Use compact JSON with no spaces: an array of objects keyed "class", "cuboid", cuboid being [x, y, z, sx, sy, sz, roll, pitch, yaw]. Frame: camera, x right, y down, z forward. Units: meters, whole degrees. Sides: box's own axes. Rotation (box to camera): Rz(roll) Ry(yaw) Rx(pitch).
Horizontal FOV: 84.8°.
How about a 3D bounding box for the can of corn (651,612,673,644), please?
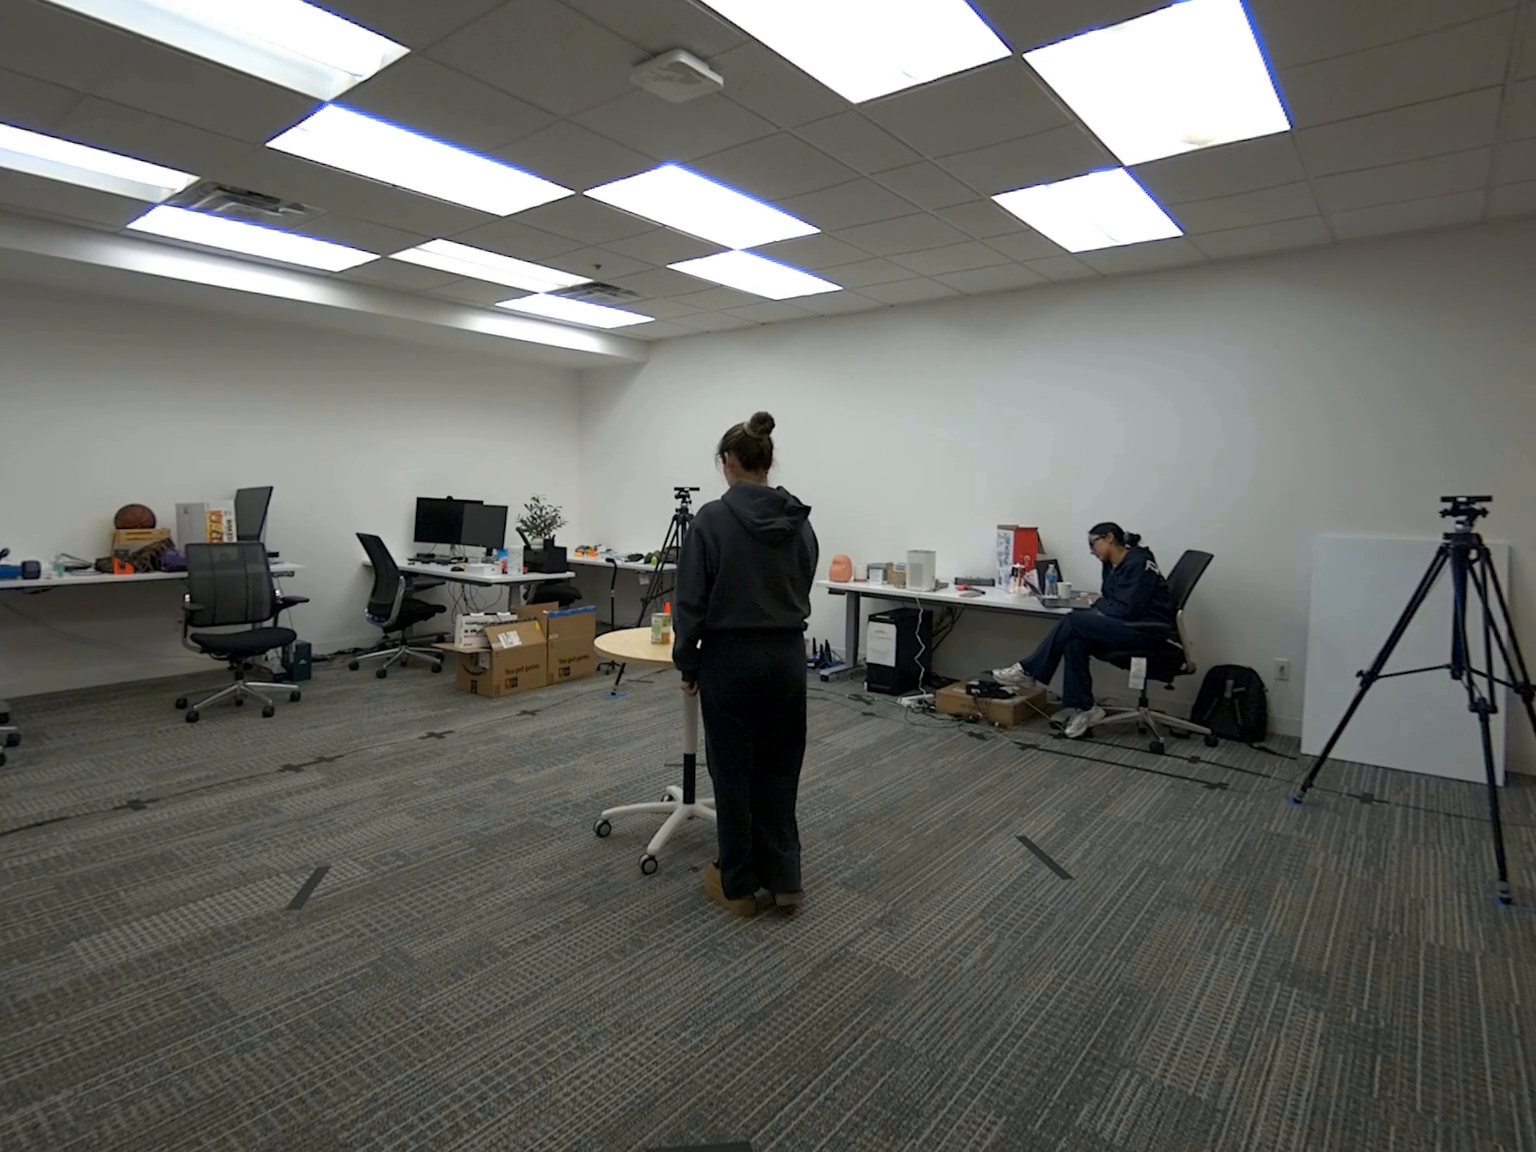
[{"class":"can of corn","cuboid":[-0.418,0.203,3.318,0.074,0.111,0.074,4,2,-2]}]
